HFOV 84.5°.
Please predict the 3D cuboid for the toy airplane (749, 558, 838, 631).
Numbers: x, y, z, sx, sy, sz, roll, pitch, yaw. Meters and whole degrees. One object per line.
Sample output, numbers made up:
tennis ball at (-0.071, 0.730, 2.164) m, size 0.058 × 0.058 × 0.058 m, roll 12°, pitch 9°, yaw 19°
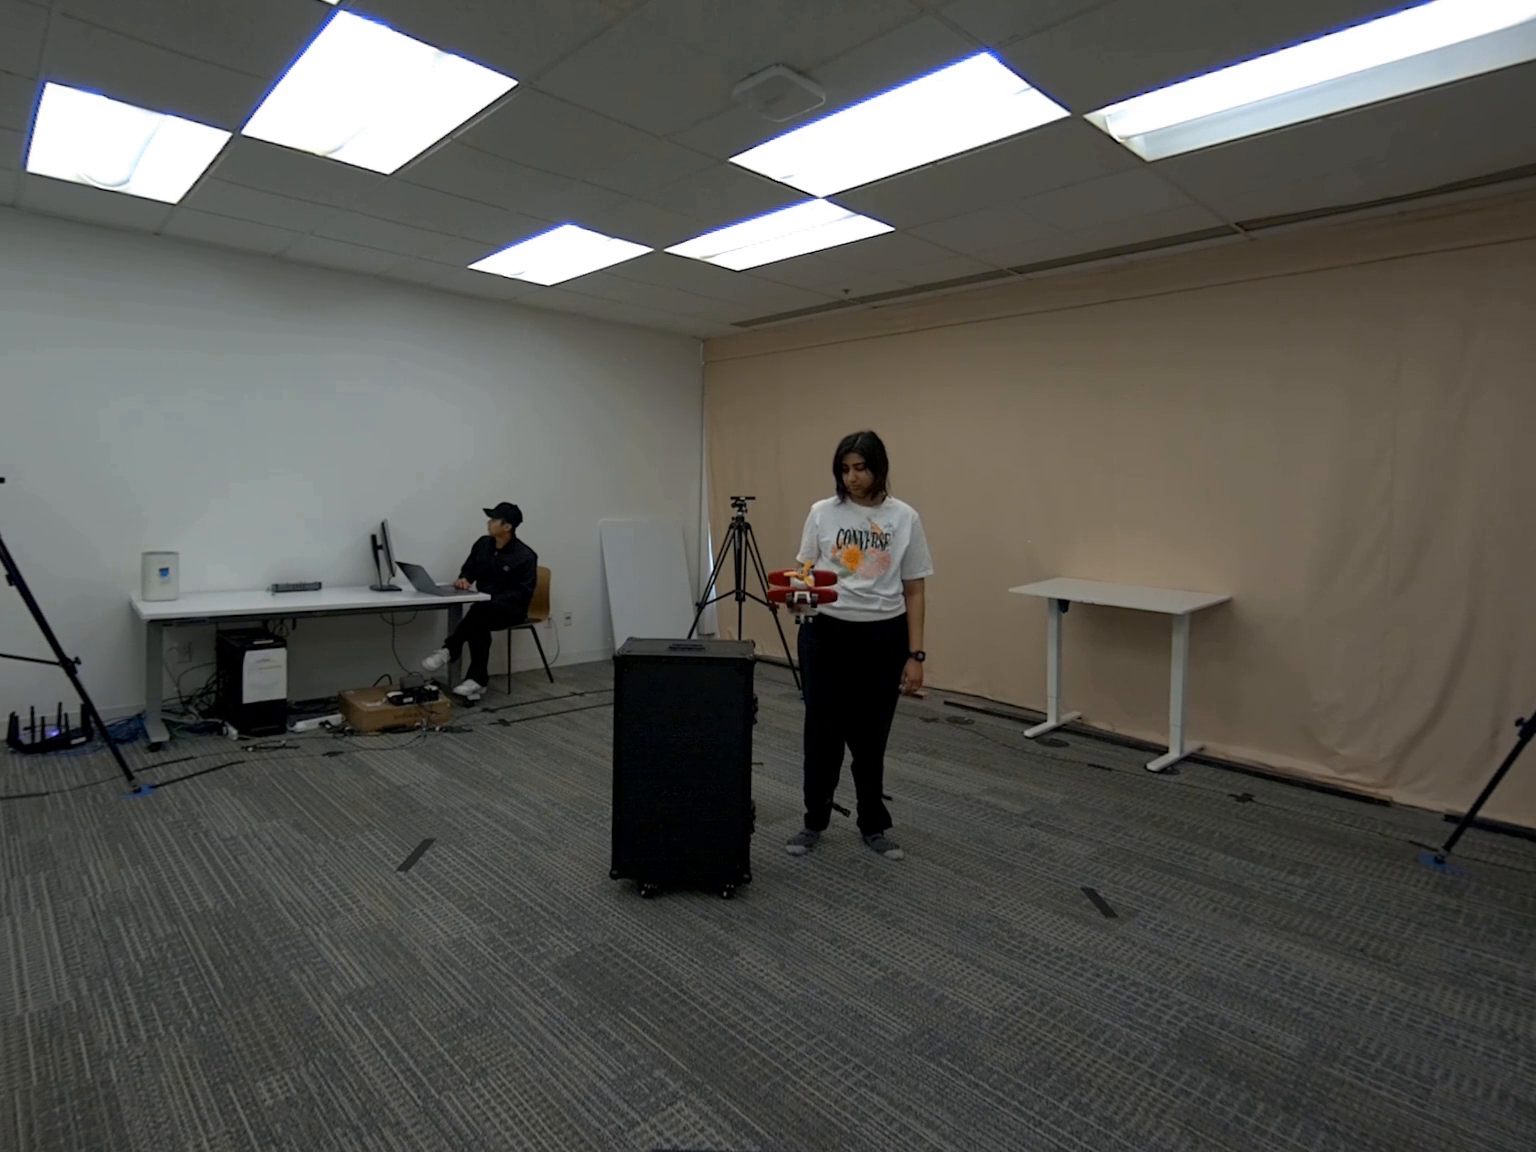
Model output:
toy airplane at (0.104, 0.075, 3.079) m, size 0.246 × 0.158 × 0.260 m, roll 14°, pitch -22°, yaw -20°
